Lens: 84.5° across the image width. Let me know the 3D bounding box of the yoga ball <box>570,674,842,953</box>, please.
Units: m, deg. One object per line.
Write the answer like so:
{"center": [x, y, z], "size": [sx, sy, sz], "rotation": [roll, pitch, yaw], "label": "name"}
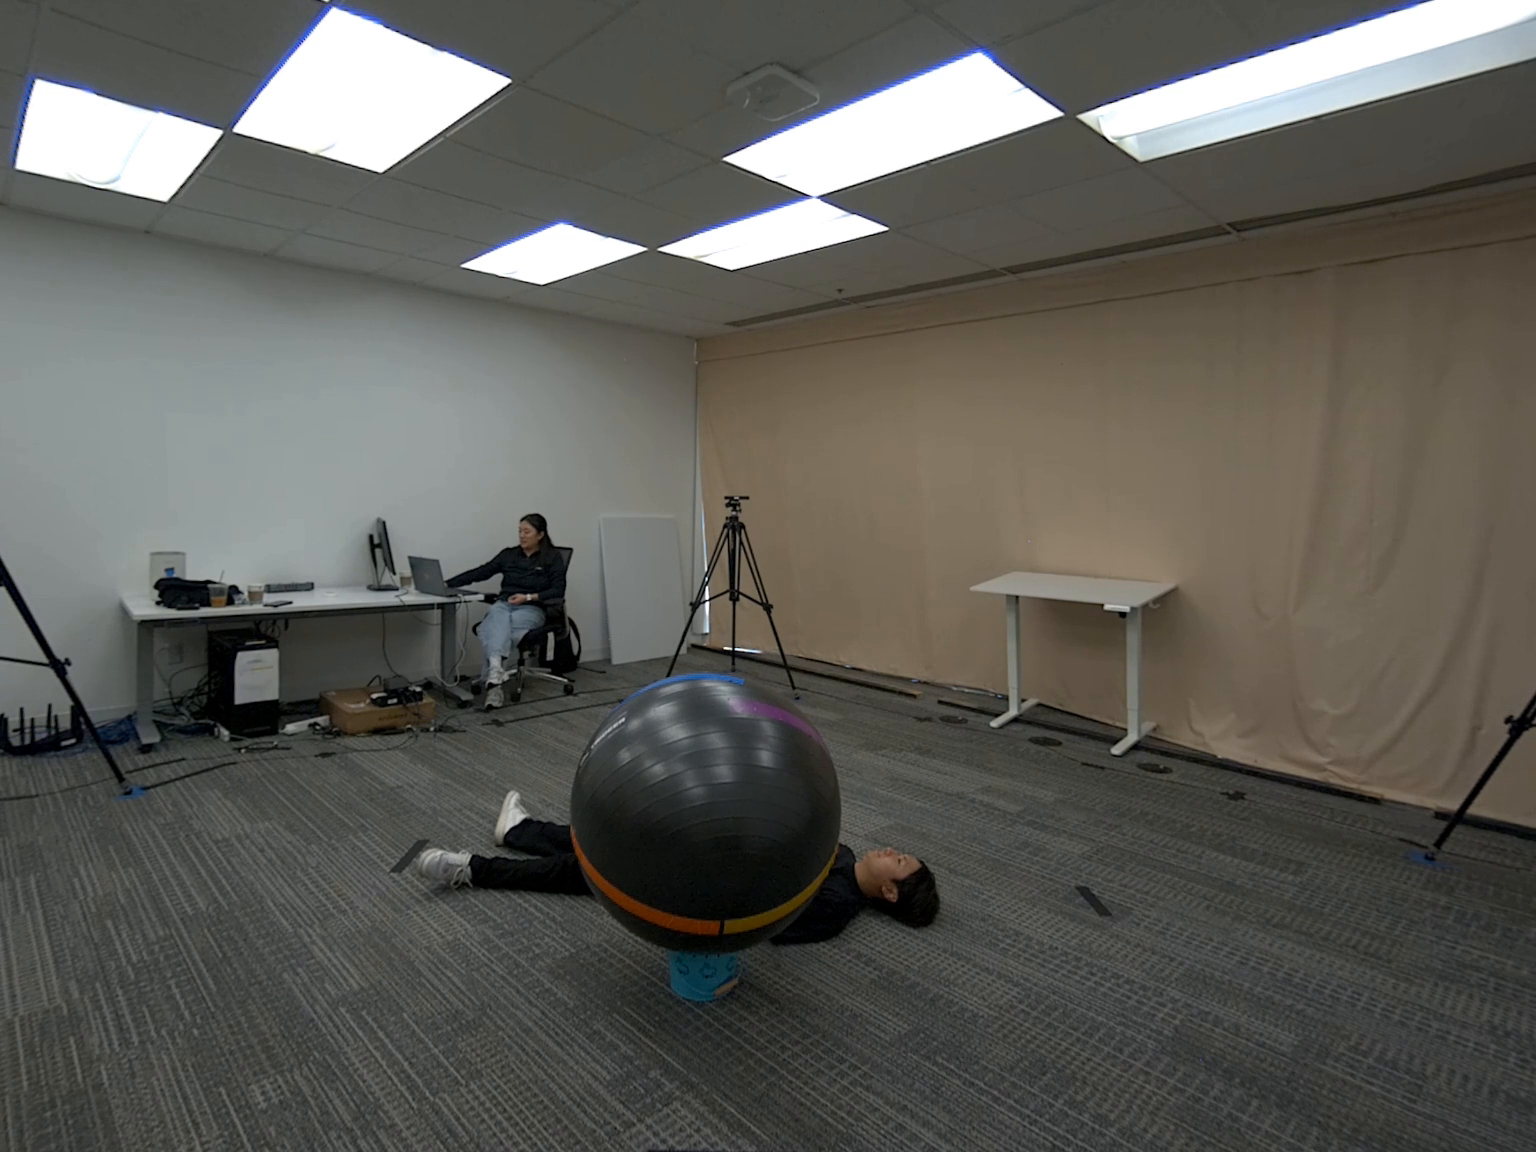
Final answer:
{"center": [-0.176, 0.660, 2.387], "size": [0.757, 0.756, 0.761], "rotation": [1, 4, -1], "label": "yoga ball"}
